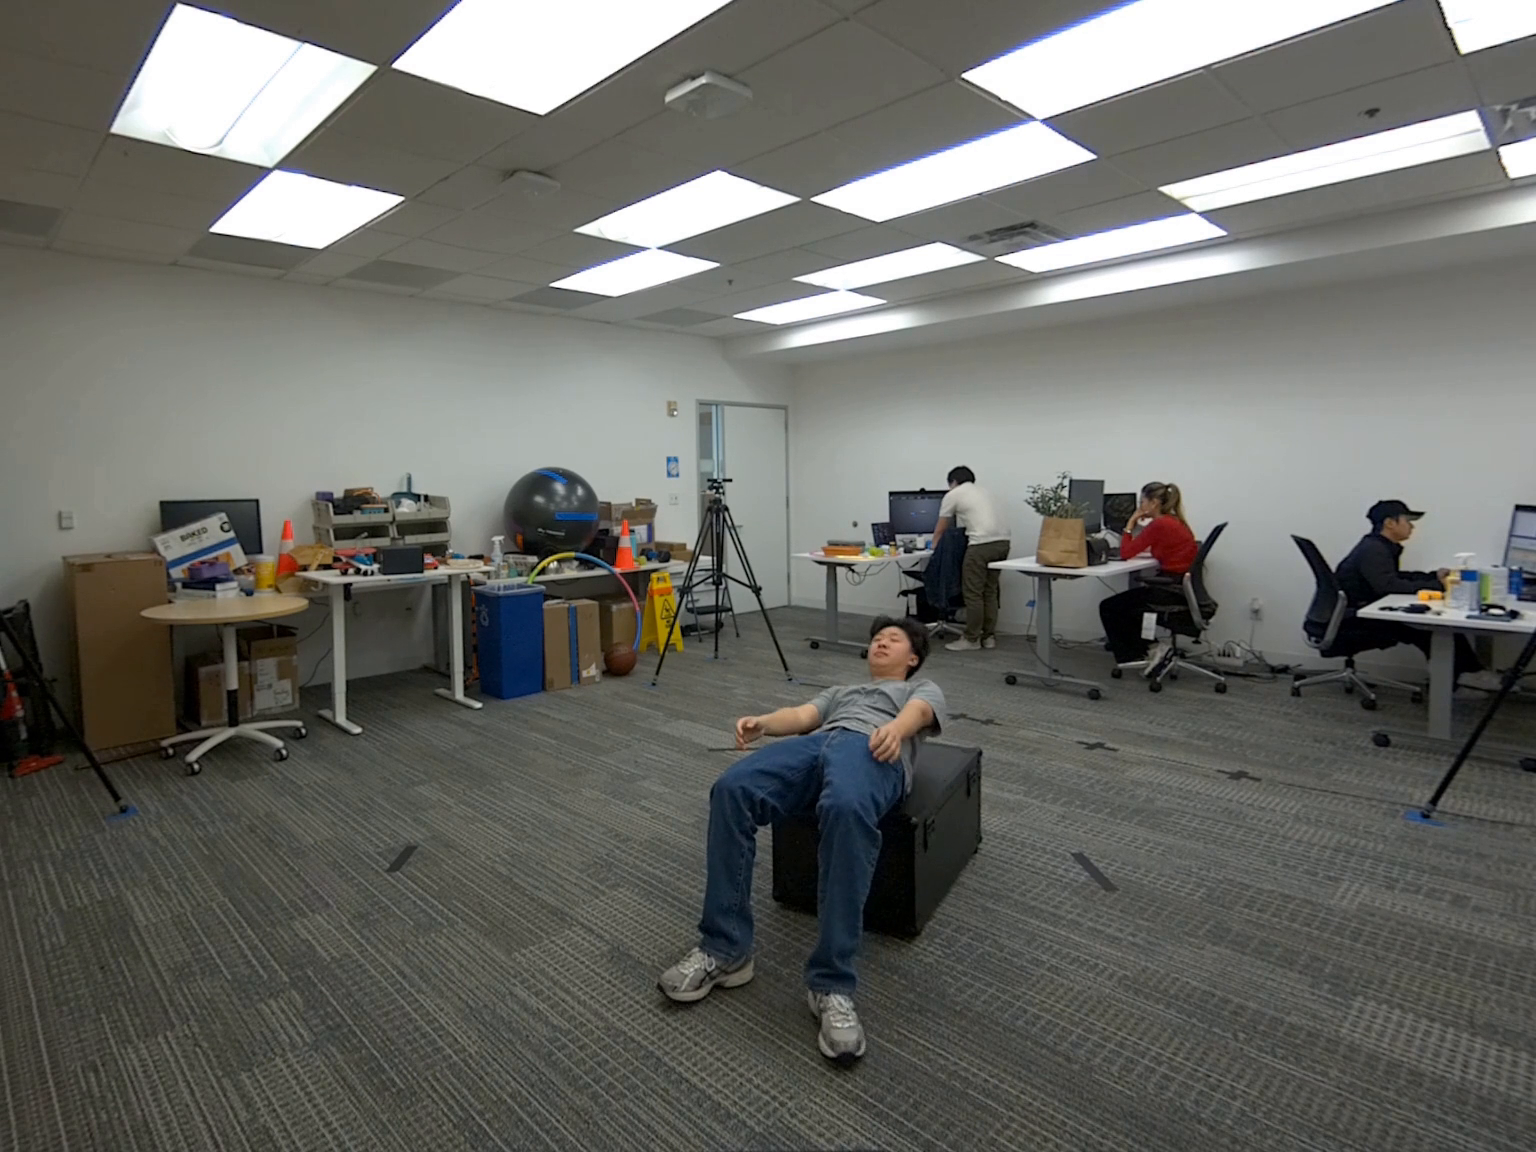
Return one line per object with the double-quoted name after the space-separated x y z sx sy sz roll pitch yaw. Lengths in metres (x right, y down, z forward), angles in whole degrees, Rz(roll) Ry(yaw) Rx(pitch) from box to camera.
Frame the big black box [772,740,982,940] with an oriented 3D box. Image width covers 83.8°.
0.427 0.861 3.011 0.534 0.394 0.844 1 7 29 "big black box"
